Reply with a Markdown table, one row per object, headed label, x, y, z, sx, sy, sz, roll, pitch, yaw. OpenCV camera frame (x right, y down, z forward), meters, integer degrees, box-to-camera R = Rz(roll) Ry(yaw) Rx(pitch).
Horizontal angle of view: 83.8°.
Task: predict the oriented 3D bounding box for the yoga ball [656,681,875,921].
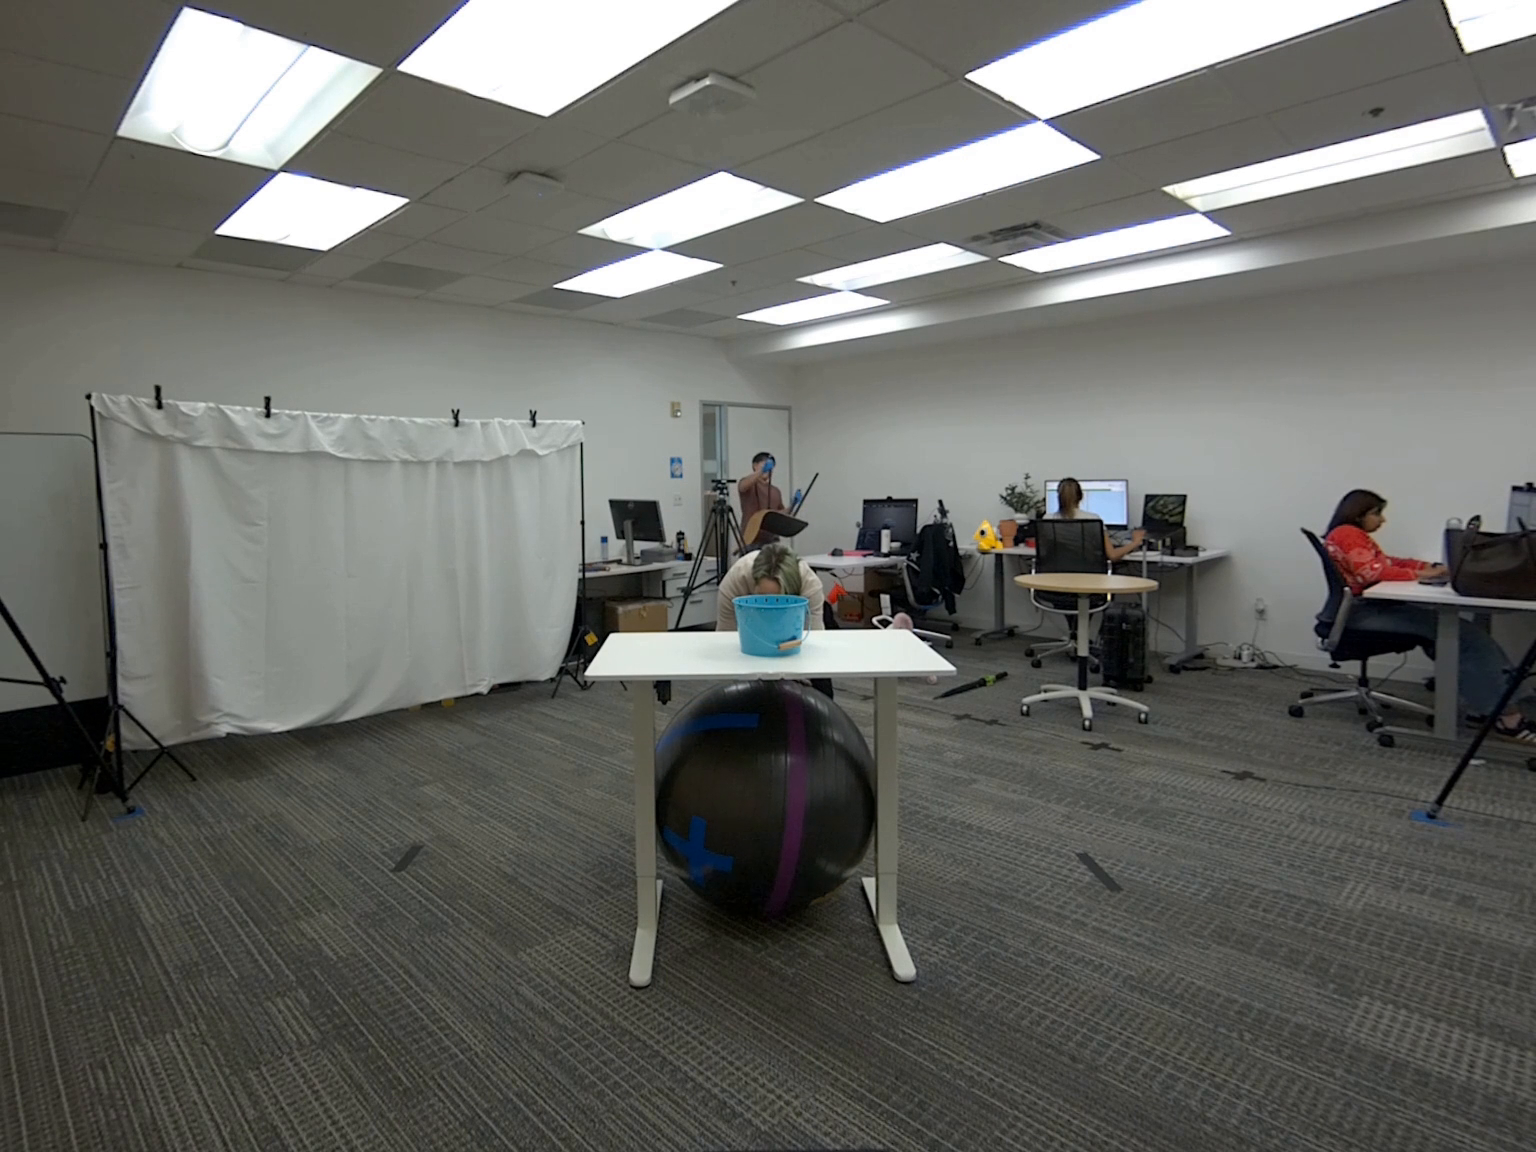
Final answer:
| label | x | y | z | sx | sy | sz | roll | pitch | yaw |
| --- | --- | --- | --- | --- | --- | --- | --- | --- | --- |
| yoga ball | -0.018 | 0.713 | 2.818 | 0.757 | 0.755 | 0.762 | -1 | 5 | -2 |
